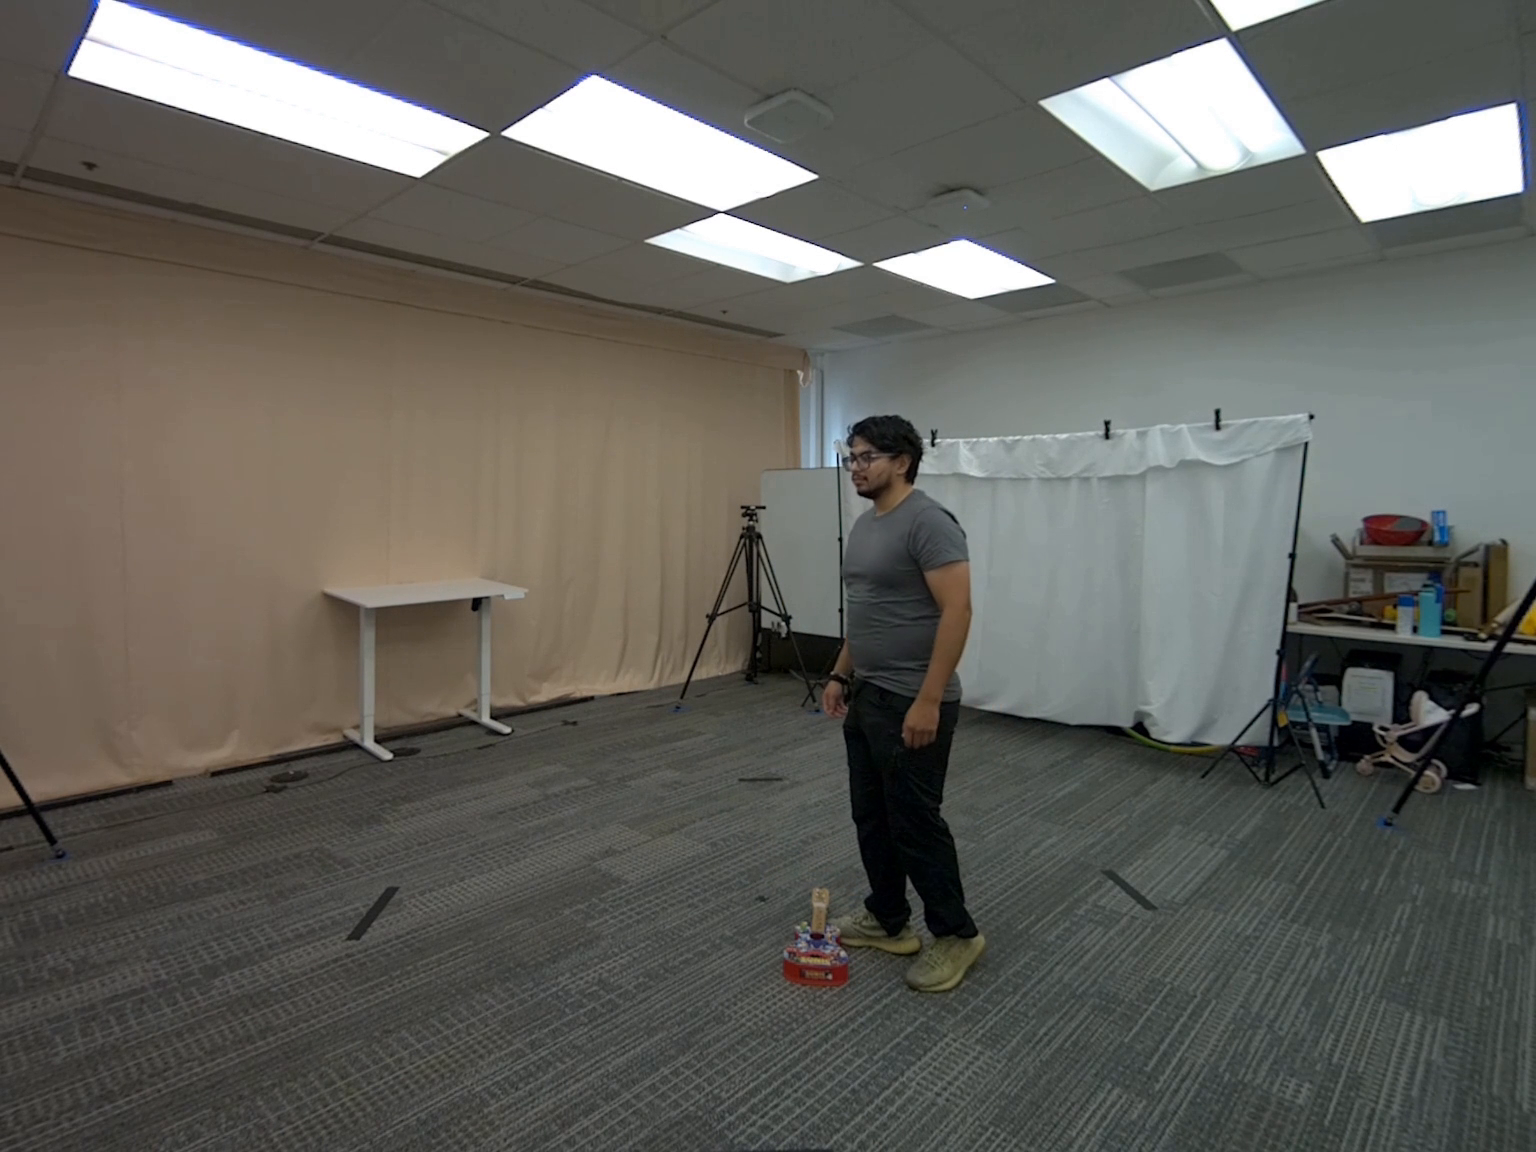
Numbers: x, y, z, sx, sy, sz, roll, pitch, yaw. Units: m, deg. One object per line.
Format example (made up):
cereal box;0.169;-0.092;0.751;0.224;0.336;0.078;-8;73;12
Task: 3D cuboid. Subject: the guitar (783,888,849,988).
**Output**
guitar;0.186;1.141;2.671;0.196;0.070;0.490;1;5;15
